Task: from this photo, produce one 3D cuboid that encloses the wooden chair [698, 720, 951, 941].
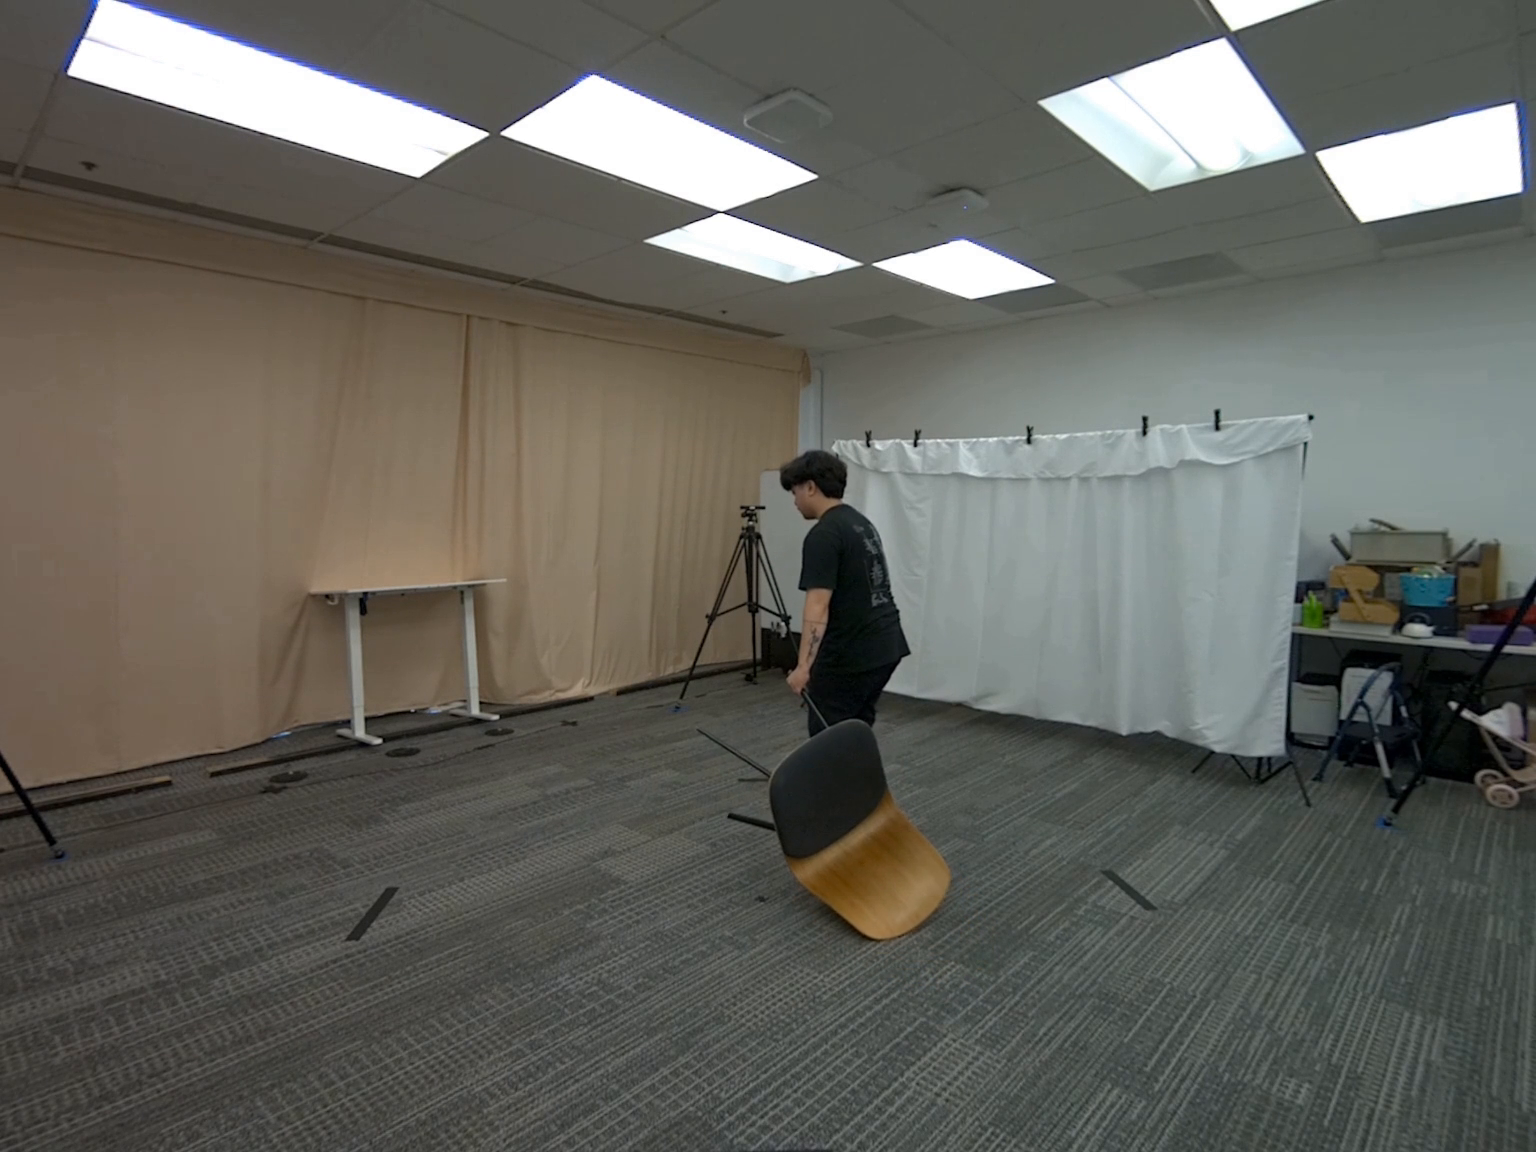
[{"bbox_3d":[0.211,0.778,2.980,0.471,0.512,0.909,-27,33,-23],"label":"wooden chair"}]
